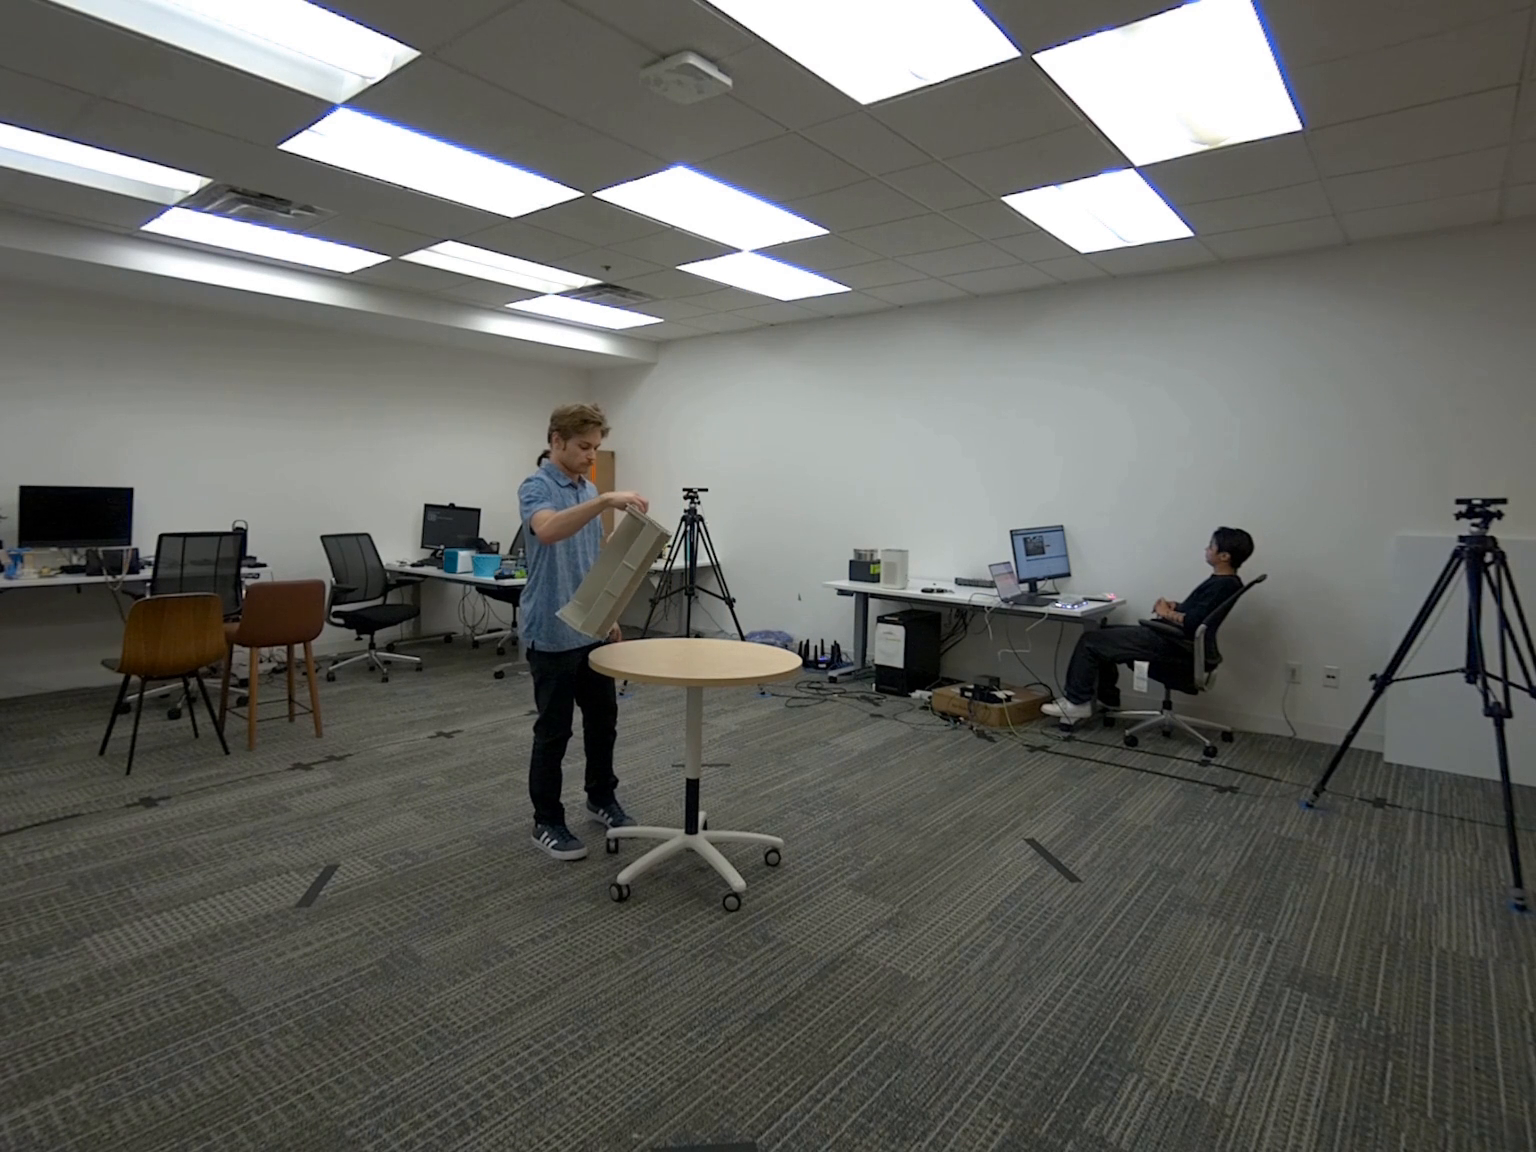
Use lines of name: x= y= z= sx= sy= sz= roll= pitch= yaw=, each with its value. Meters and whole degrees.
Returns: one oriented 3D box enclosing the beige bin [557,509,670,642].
beige bin: x=-0.518 y=-0.022 z=2.849 sx=0.190 sy=0.422 sz=0.376 roll=33 pitch=0 yaw=0
